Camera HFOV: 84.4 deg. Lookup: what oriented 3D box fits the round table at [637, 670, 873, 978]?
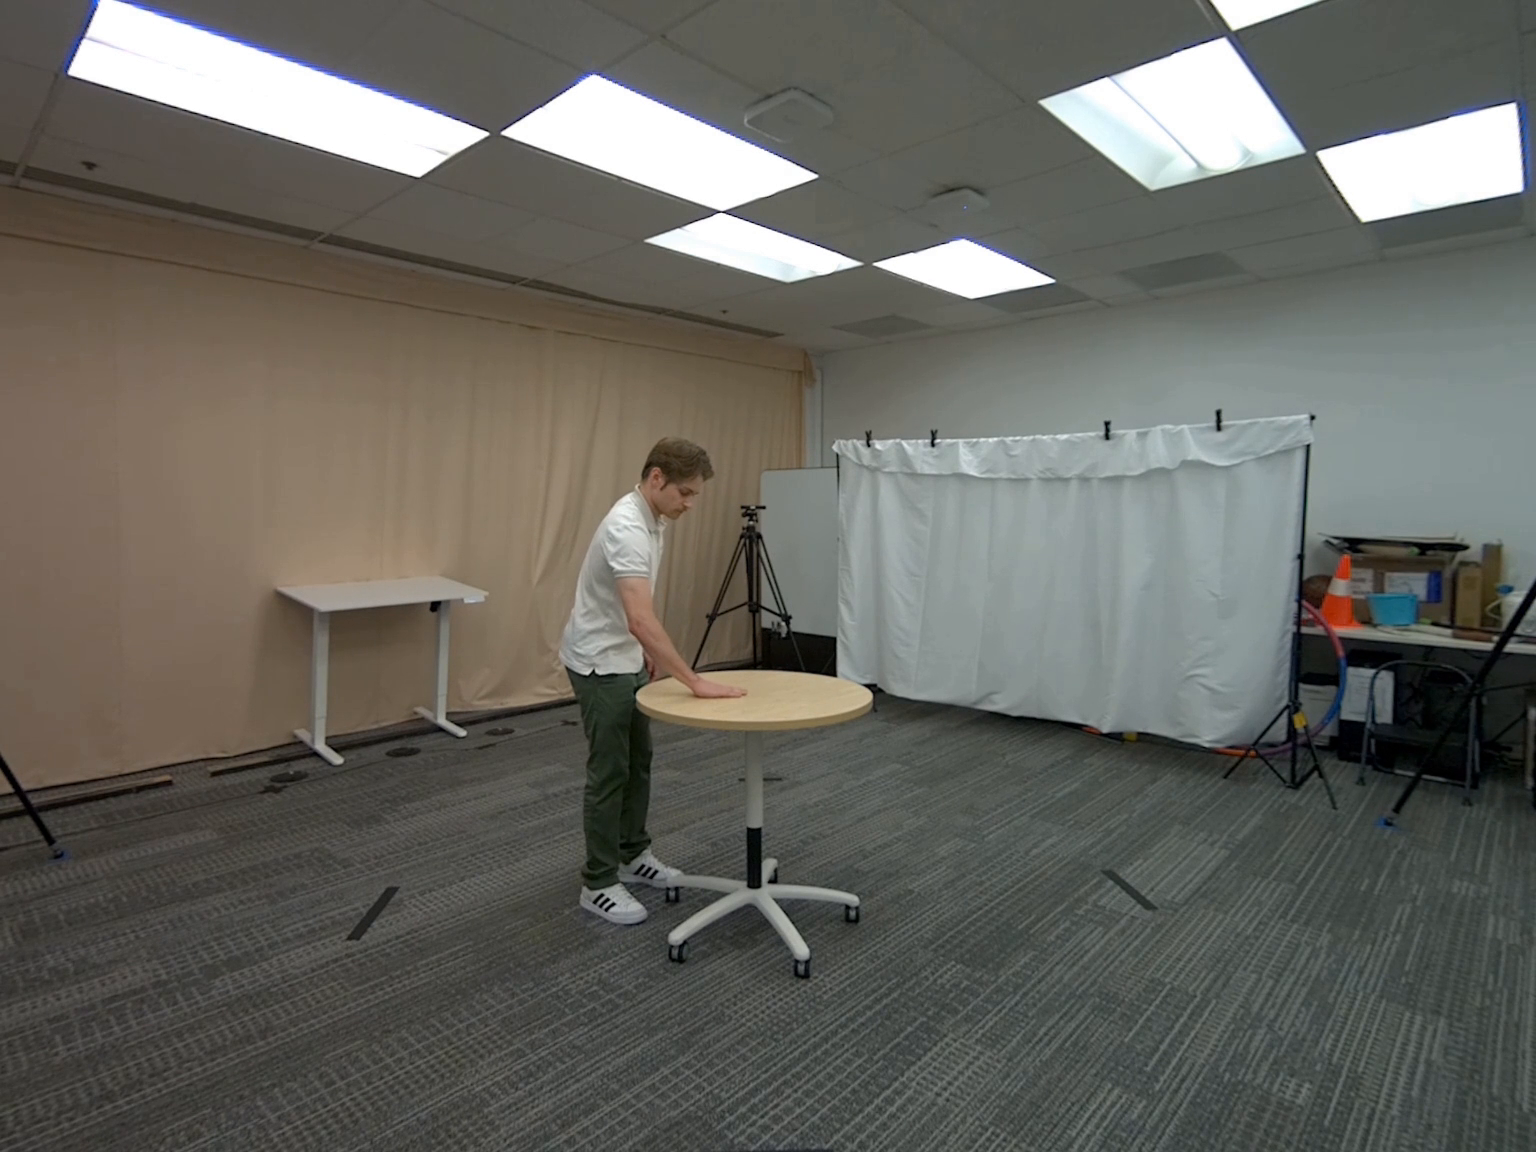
[{"bbox_3d":[-0.035,0.769,2.745,0.784,0.785,0.787,-1,3,-2],"label":"round table"}]
